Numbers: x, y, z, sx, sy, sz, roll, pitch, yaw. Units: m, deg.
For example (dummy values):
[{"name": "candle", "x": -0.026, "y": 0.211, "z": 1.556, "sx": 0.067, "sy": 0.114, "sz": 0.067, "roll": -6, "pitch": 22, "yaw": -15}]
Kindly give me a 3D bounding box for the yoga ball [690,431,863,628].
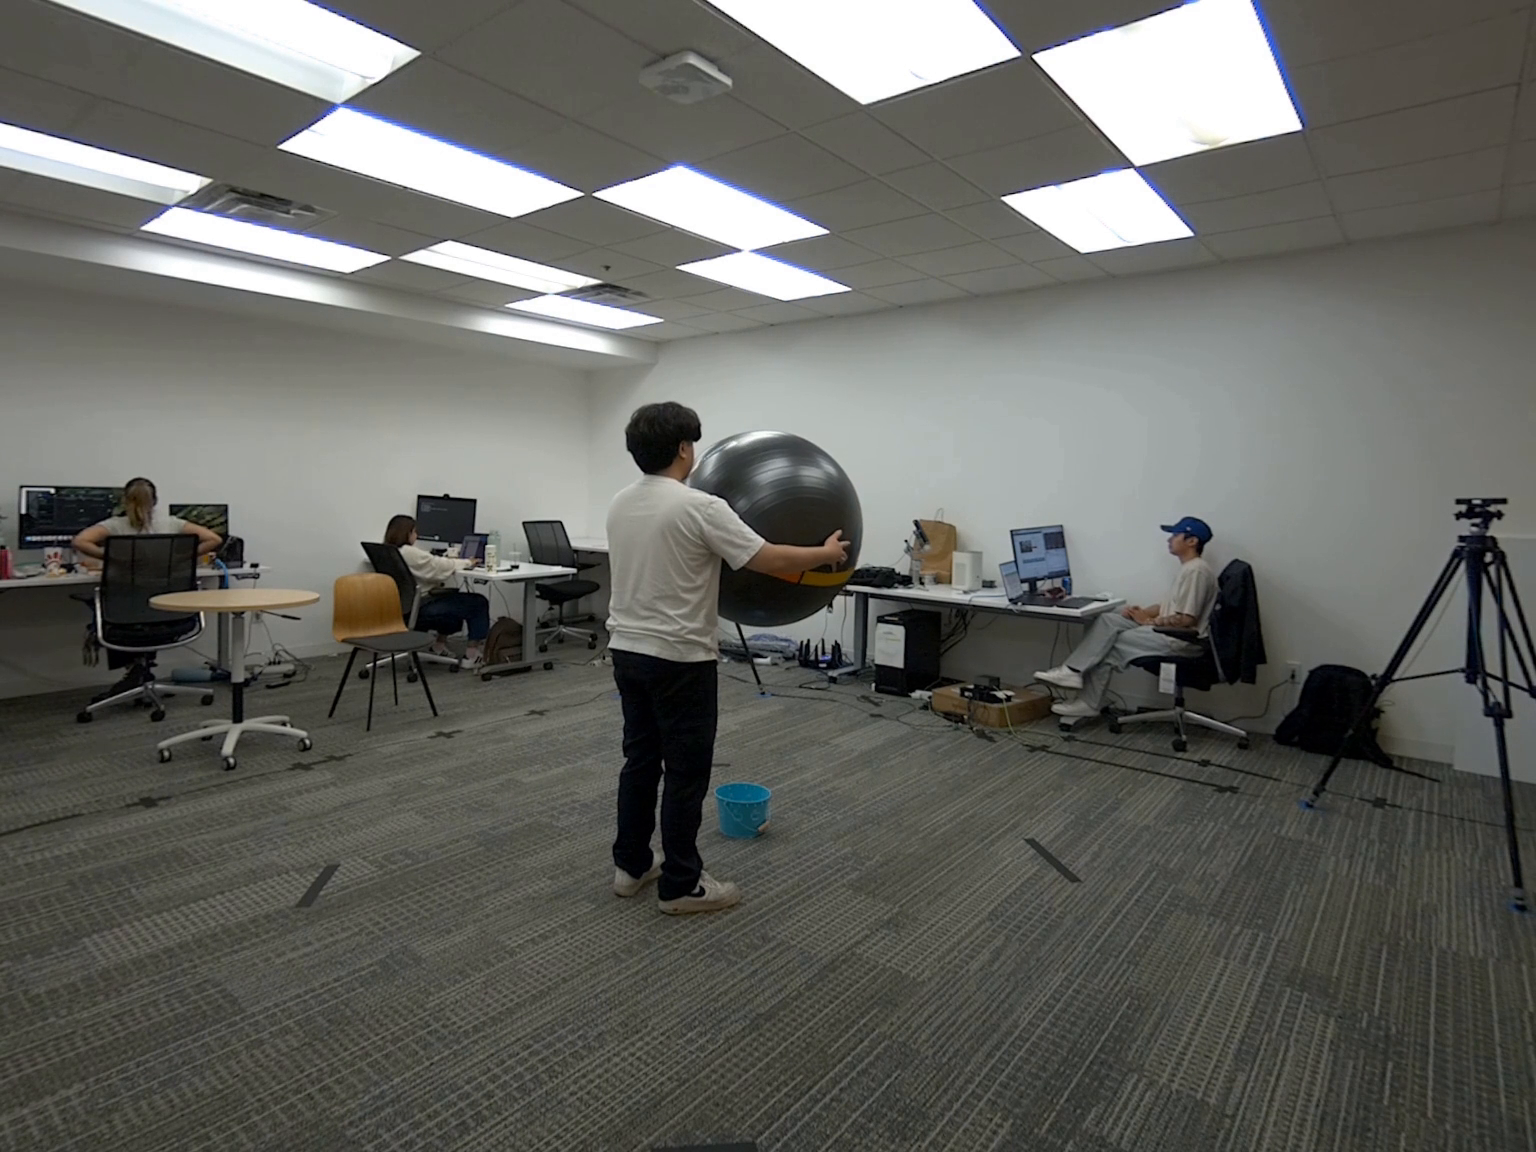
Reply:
[{"name": "yoga ball", "x": -0.016, "y": -0.178, "z": 3.305, "sx": 0.757, "sy": 0.755, "sz": 0.762, "roll": 1, "pitch": 4, "yaw": -2}]
